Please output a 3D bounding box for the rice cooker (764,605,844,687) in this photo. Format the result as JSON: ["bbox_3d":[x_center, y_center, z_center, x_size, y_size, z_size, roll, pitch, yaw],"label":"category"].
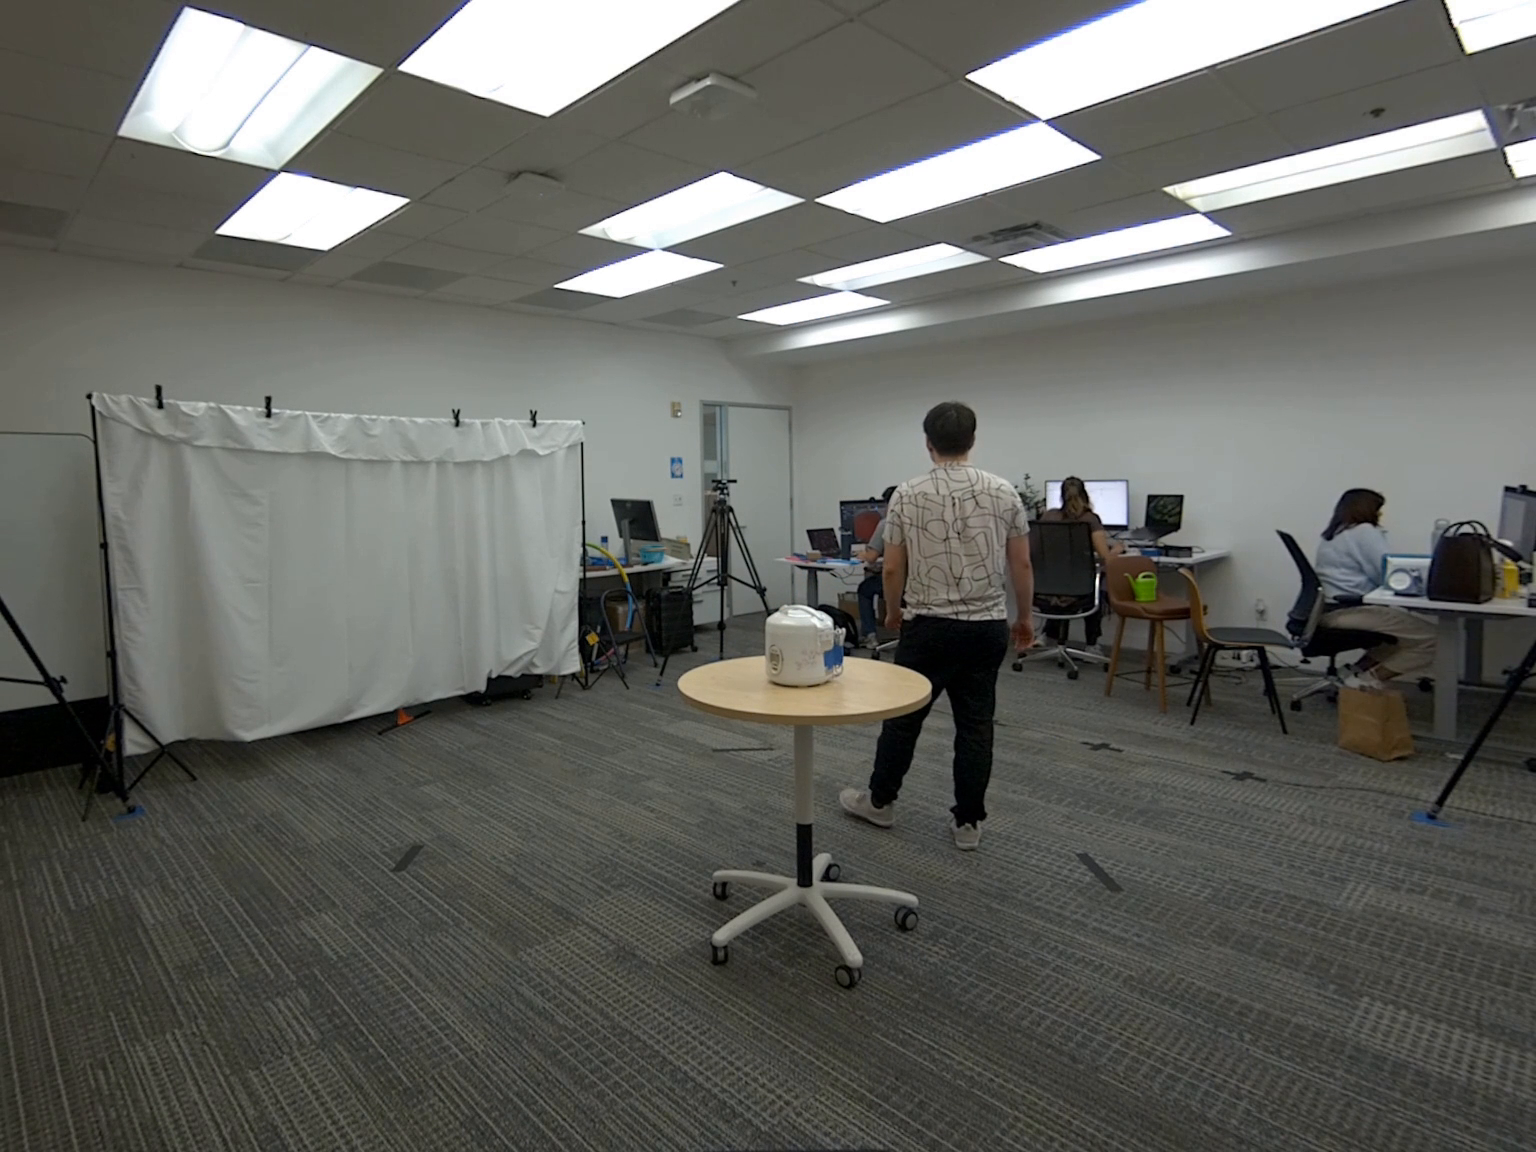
[{"bbox_3d":[0.100,0.205,2.599,0.211,0.232,0.227,-3,5,-43],"label":"rice cooker"}]
